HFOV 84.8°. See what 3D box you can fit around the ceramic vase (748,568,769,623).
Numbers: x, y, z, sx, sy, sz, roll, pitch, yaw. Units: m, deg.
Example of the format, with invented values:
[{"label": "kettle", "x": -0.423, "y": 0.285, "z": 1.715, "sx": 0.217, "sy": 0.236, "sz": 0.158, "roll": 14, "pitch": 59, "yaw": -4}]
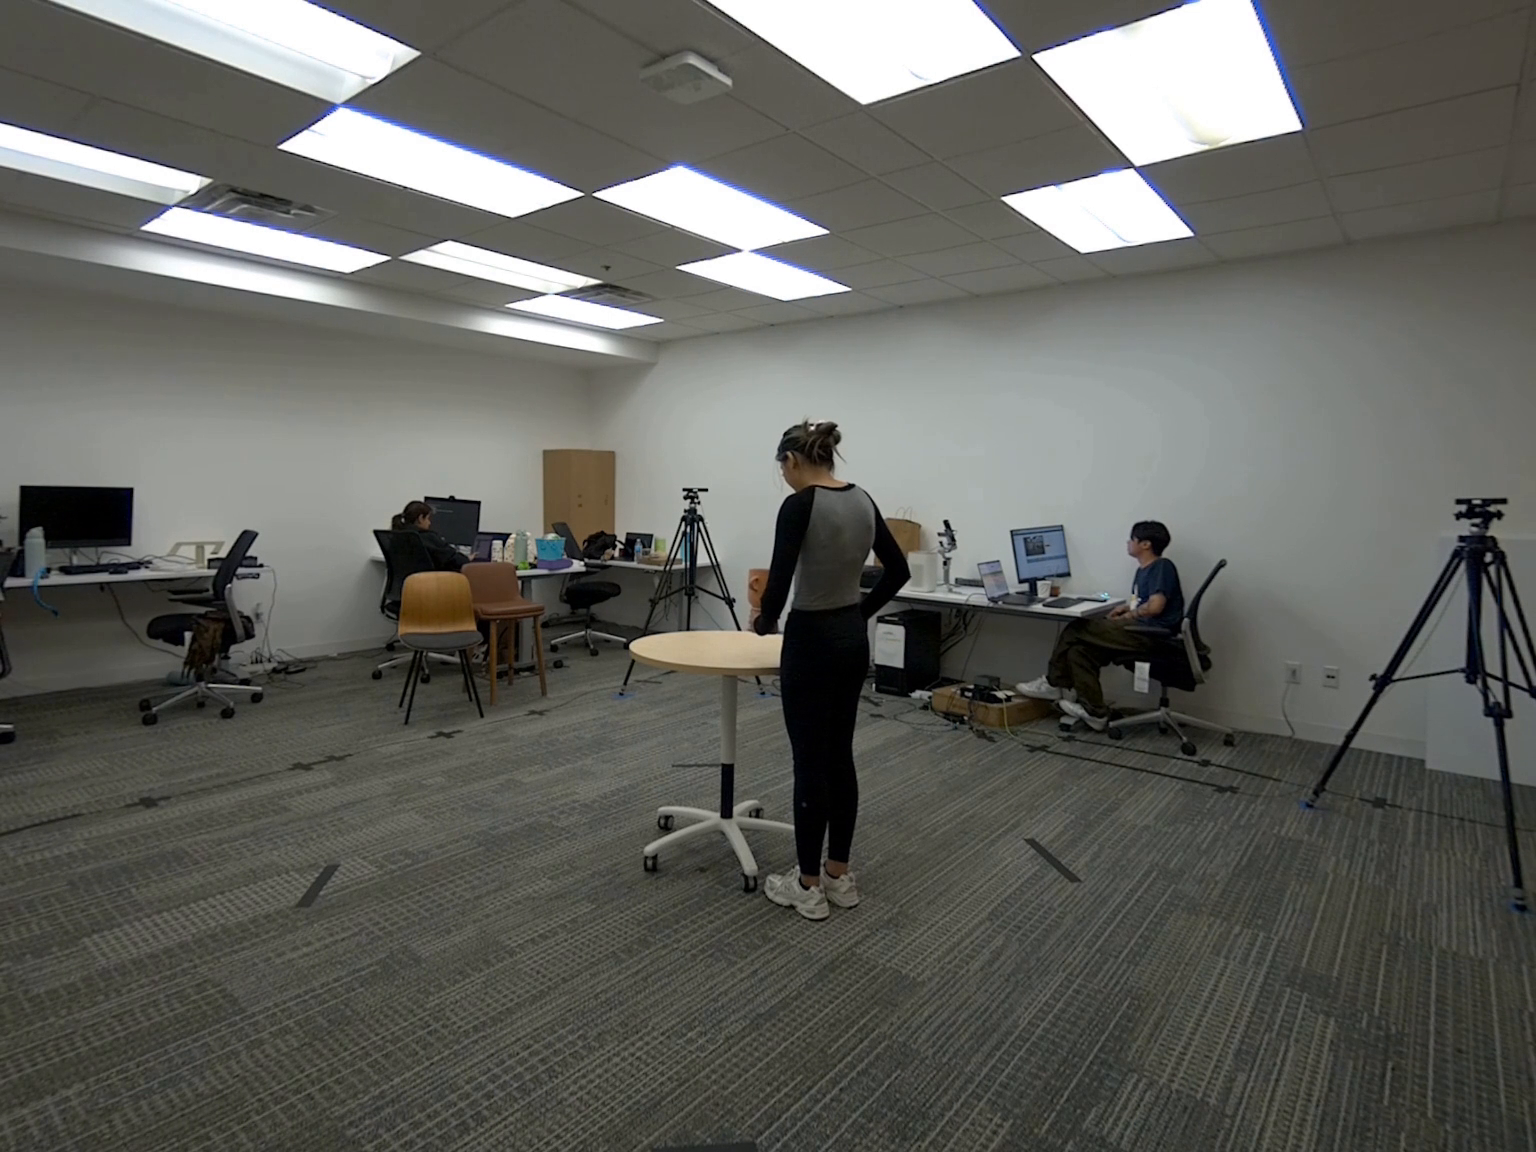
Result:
[{"label": "ceramic vase", "x": -0.011, "y": 0.090, "z": 2.914, "sx": 0.156, "sy": 0.220, "sz": 0.136, "roll": 3, "pitch": 0, "yaw": -13}]
